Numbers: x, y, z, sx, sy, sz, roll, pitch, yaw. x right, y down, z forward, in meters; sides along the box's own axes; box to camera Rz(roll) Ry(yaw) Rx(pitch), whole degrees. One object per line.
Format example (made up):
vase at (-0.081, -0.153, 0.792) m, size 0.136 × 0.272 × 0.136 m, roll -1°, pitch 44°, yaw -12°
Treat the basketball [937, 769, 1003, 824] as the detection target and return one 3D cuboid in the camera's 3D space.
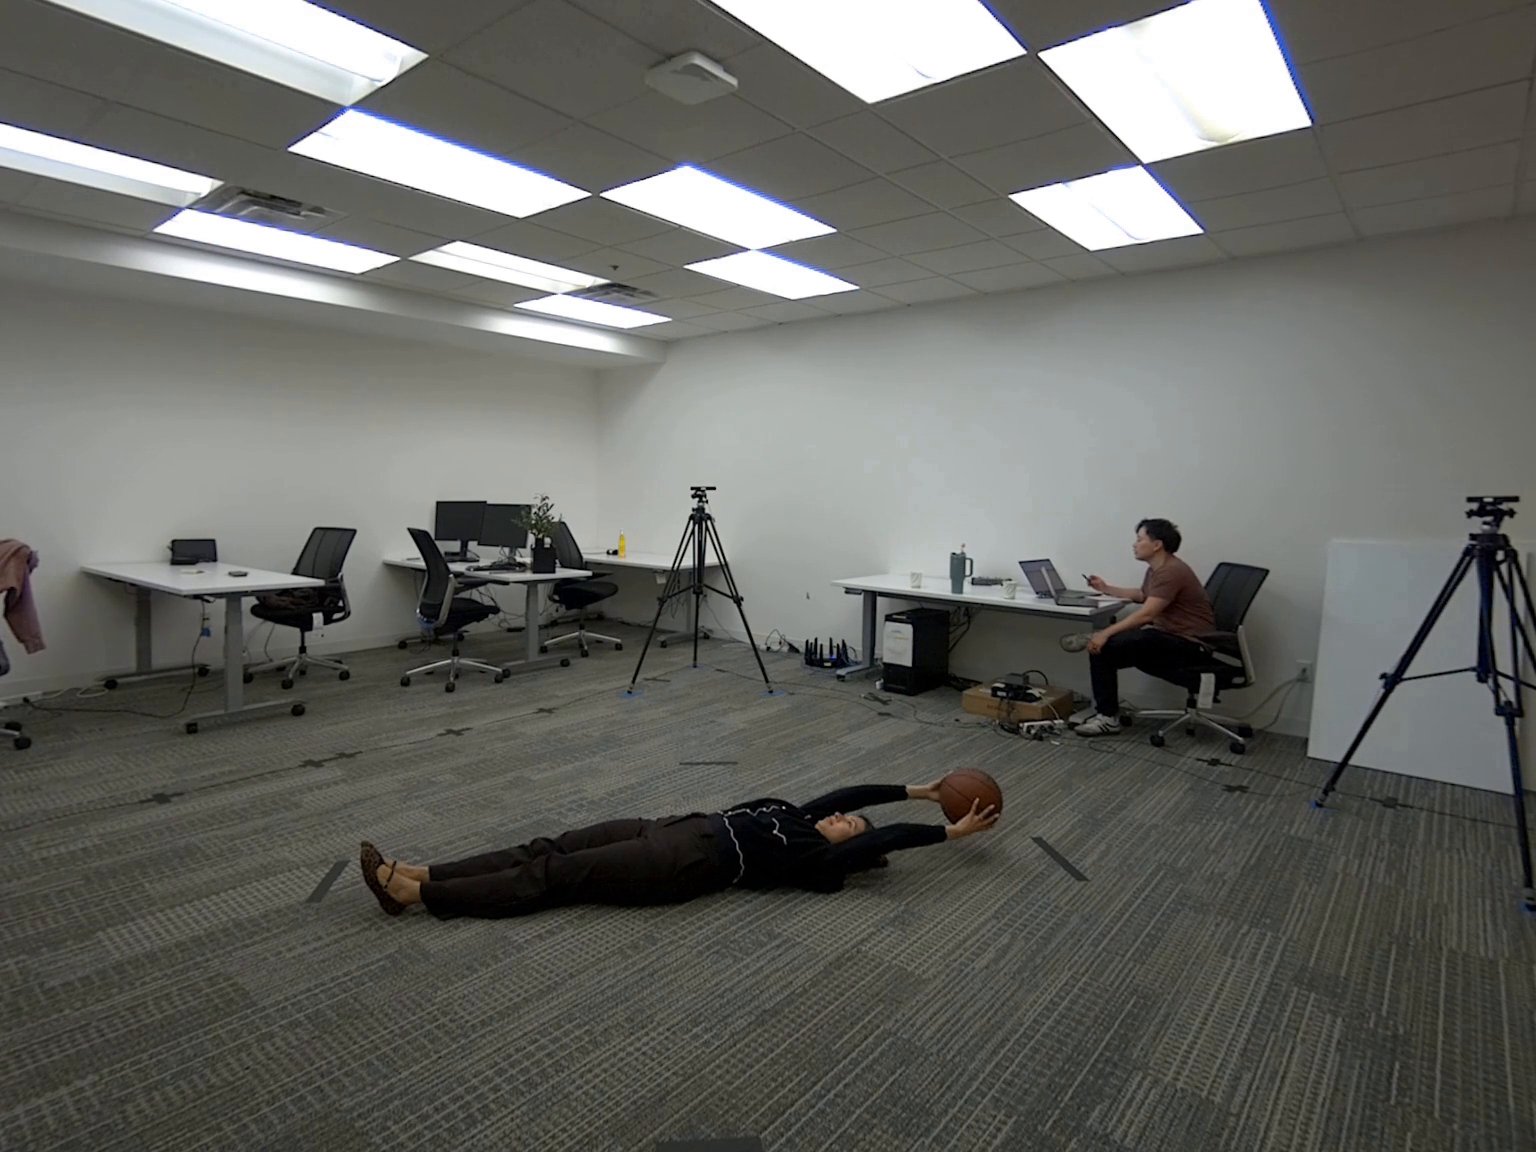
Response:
basketball at (0.776, 0.853, 3.295) m, size 0.236 × 0.235 × 0.237 m, roll 1°, pitch 4°, yaw -2°
